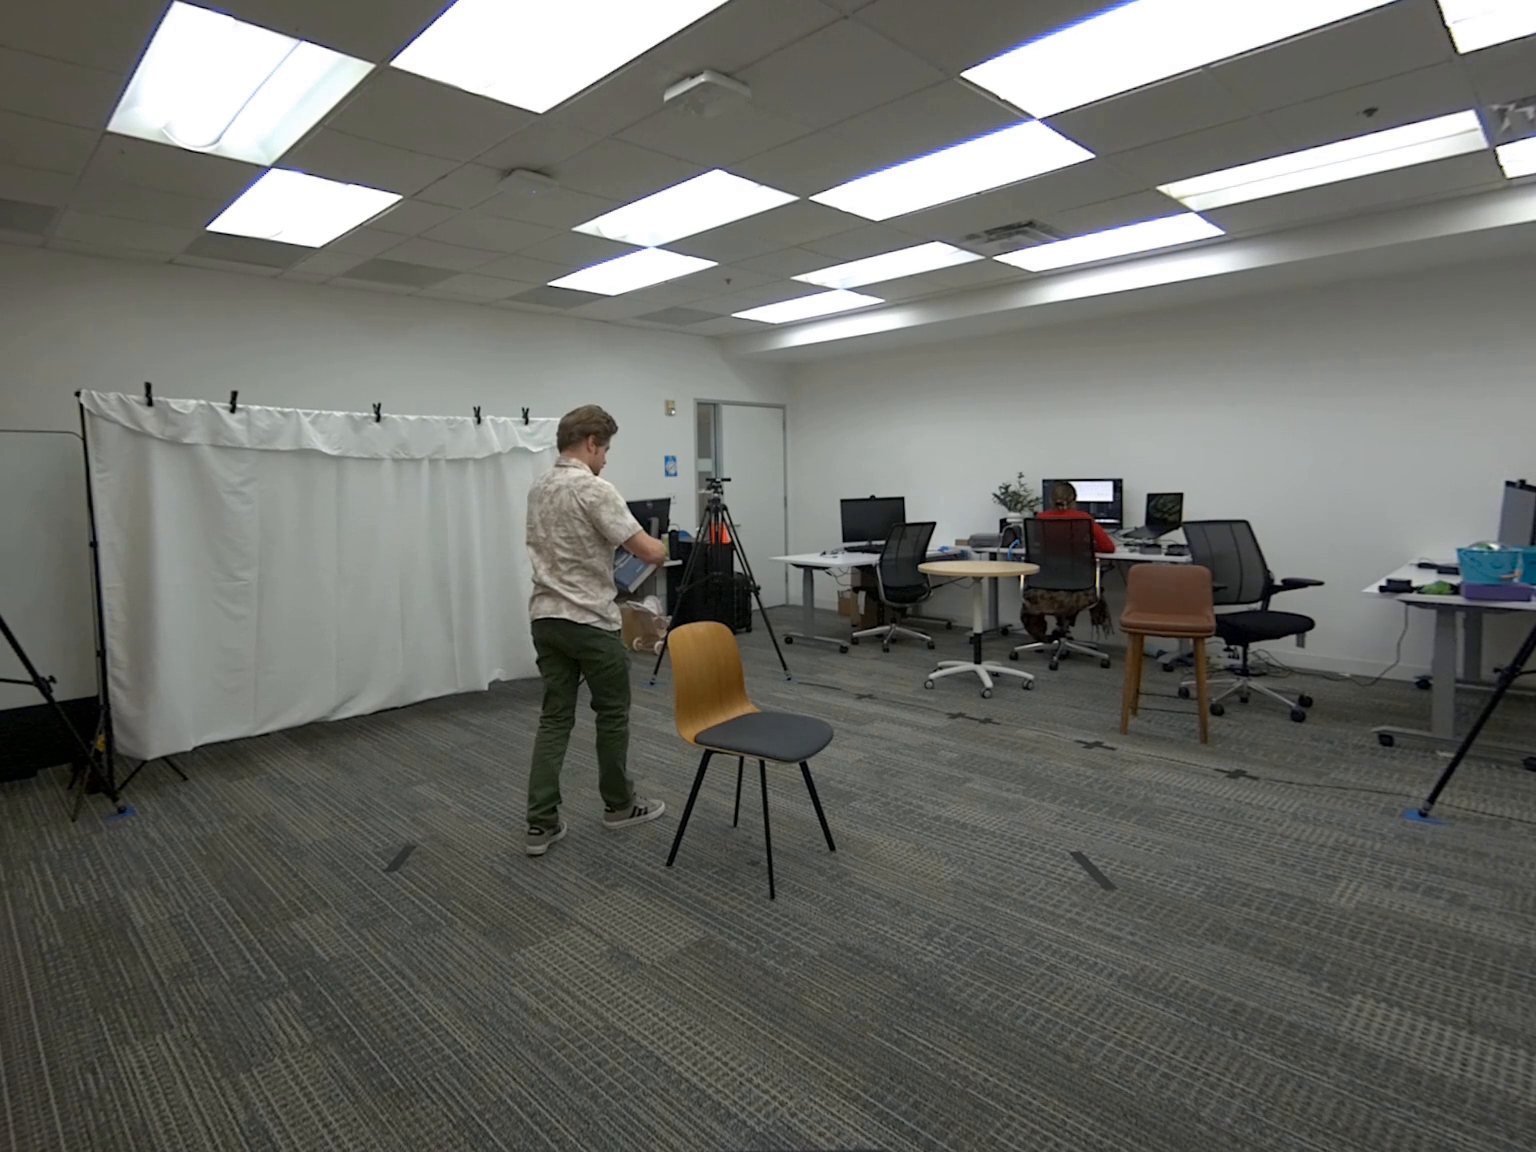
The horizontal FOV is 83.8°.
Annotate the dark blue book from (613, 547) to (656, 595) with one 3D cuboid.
[{"bbox_3d":[-0.594,-0.030,3.557,0.254,0.043,0.163,23,64,45],"label":"dark blue book"}]
